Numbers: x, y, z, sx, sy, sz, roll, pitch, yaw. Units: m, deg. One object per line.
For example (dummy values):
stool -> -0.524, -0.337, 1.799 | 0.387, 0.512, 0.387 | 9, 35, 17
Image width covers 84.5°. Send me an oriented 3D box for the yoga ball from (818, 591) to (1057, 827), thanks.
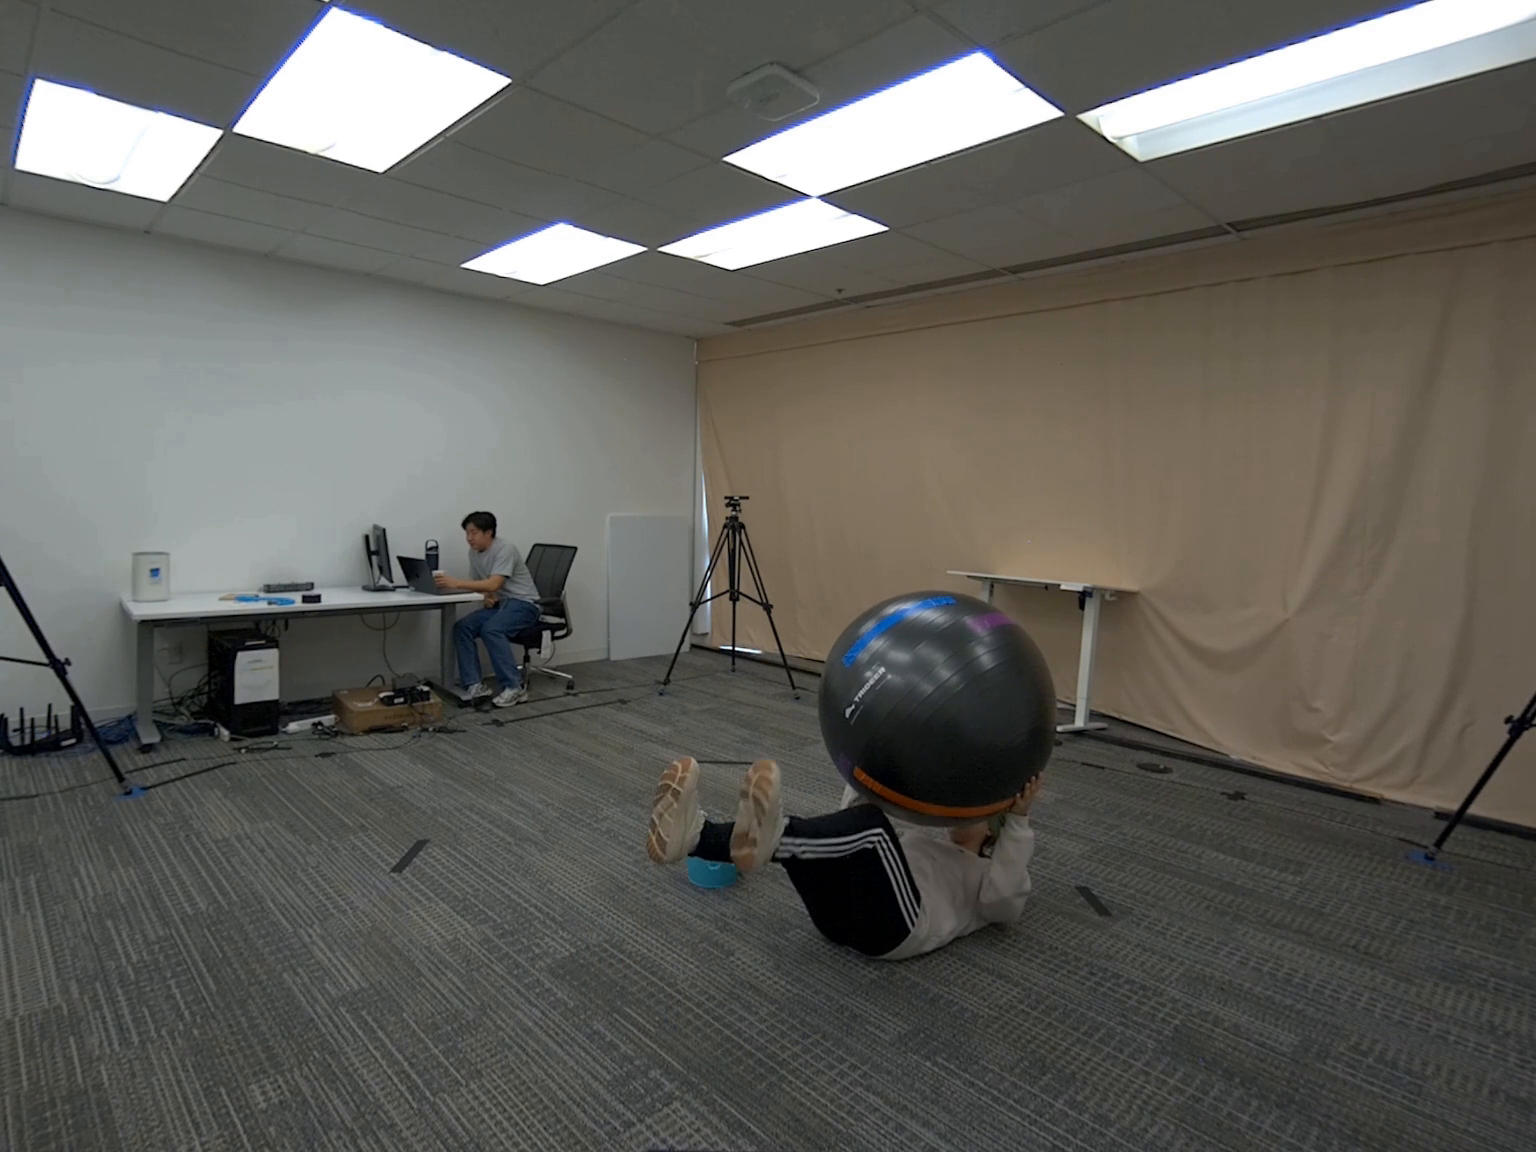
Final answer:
yoga ball -> 0.542, 0.428, 2.759 | 0.757, 0.756, 0.761 | 1, 4, -1
